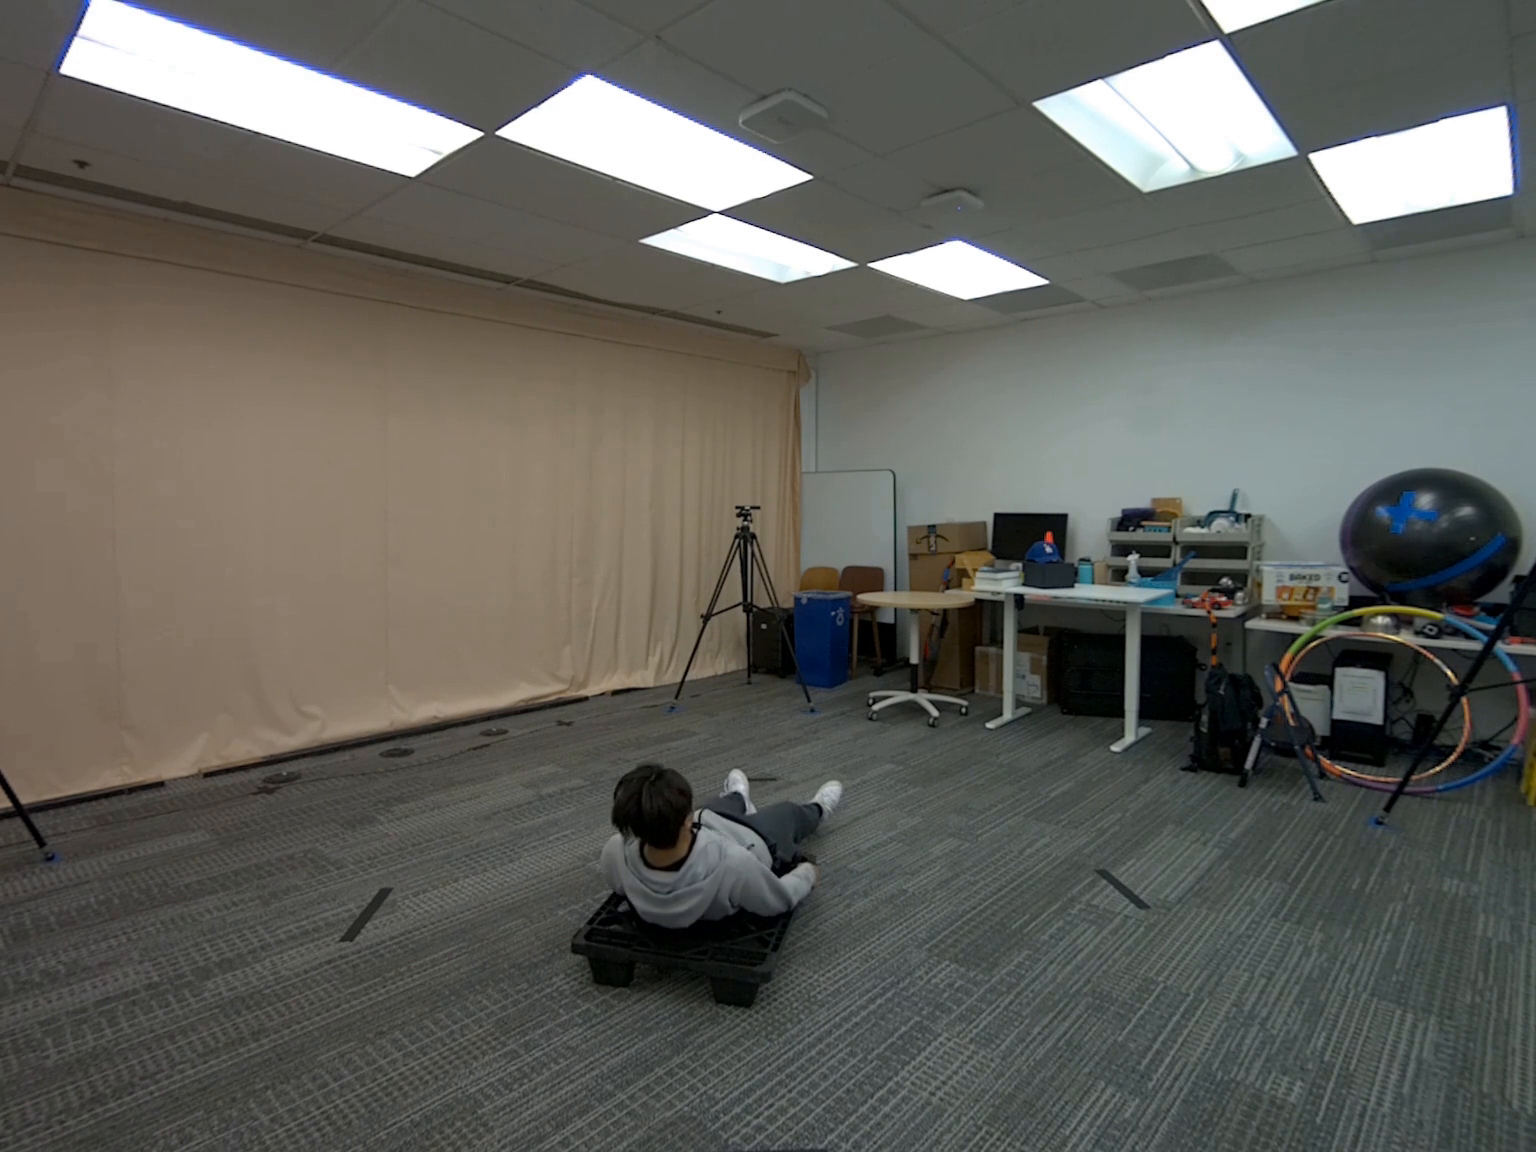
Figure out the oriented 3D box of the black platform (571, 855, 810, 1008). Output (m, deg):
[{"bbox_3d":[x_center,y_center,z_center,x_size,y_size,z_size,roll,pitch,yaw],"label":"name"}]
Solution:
[{"bbox_3d":[-0.198,1.092,2.747,0.615,0.143,0.795,3,5,14],"label":"black platform"}]
